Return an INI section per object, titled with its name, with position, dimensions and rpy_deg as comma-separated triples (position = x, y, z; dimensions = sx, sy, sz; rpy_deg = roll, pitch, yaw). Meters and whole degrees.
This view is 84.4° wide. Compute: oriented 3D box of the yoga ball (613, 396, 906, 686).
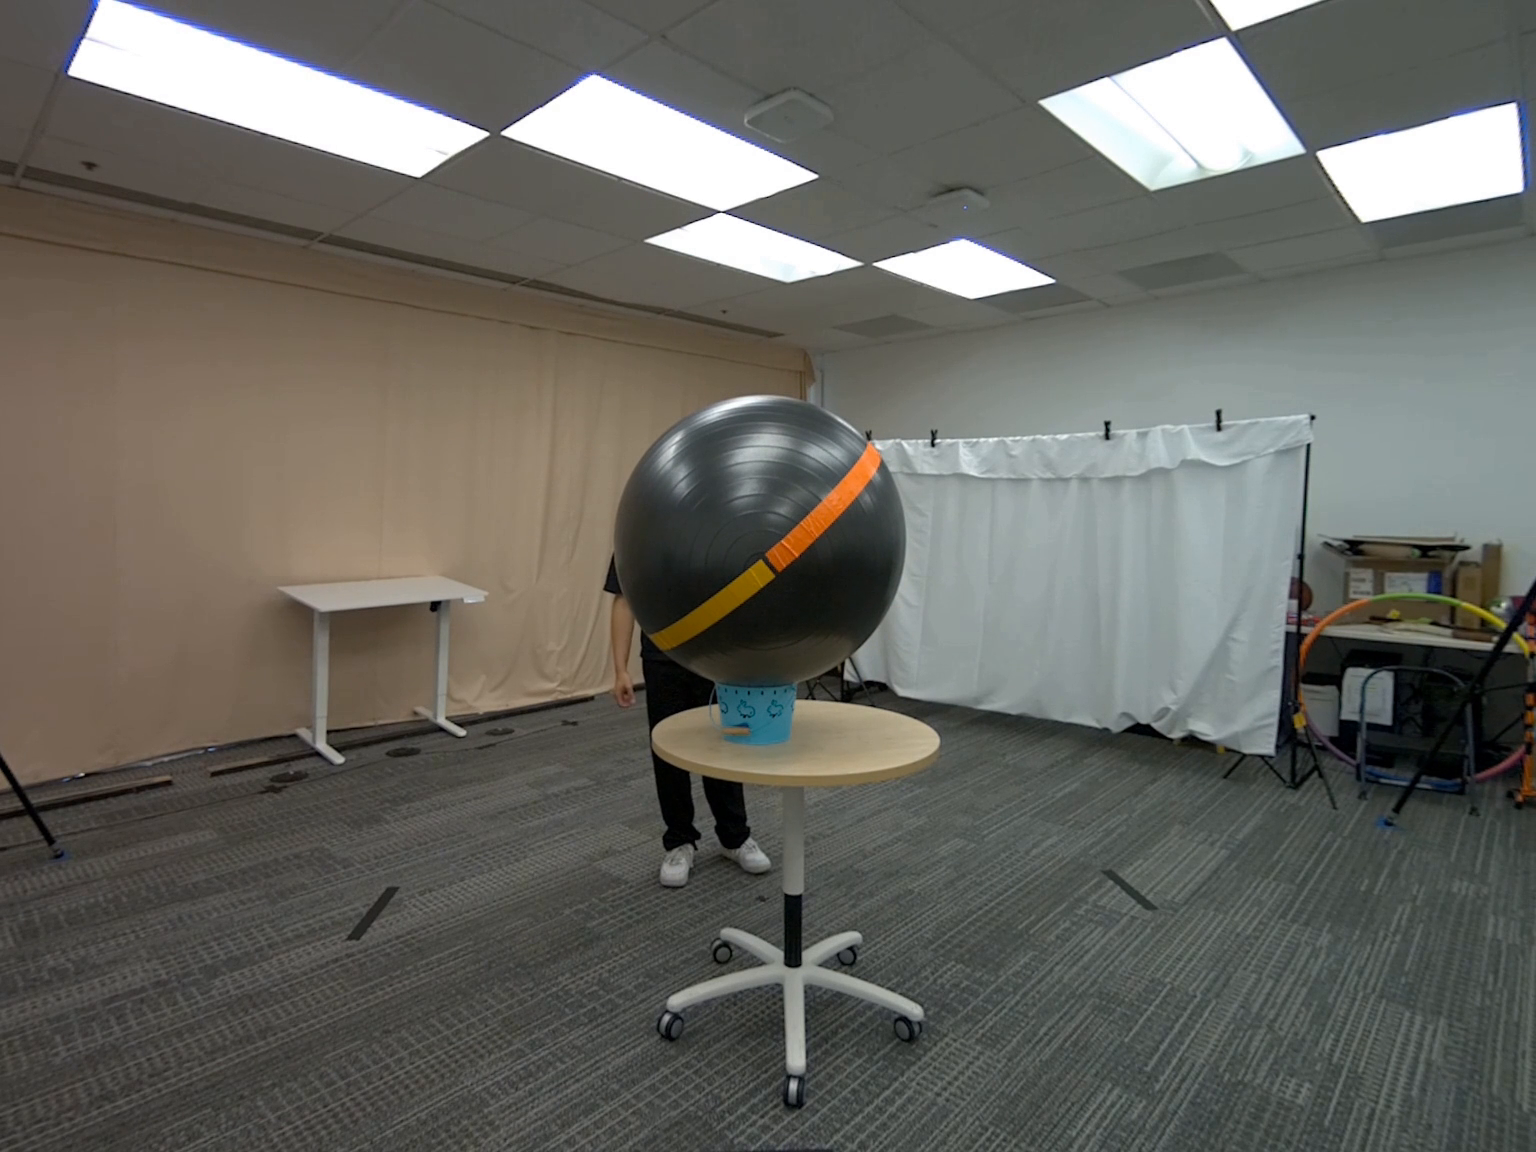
[yoga ball]
position = -0.019, -0.085, 2.209
dimensions = 0.757, 0.756, 0.760
rpy_deg = 0, 4, -2
